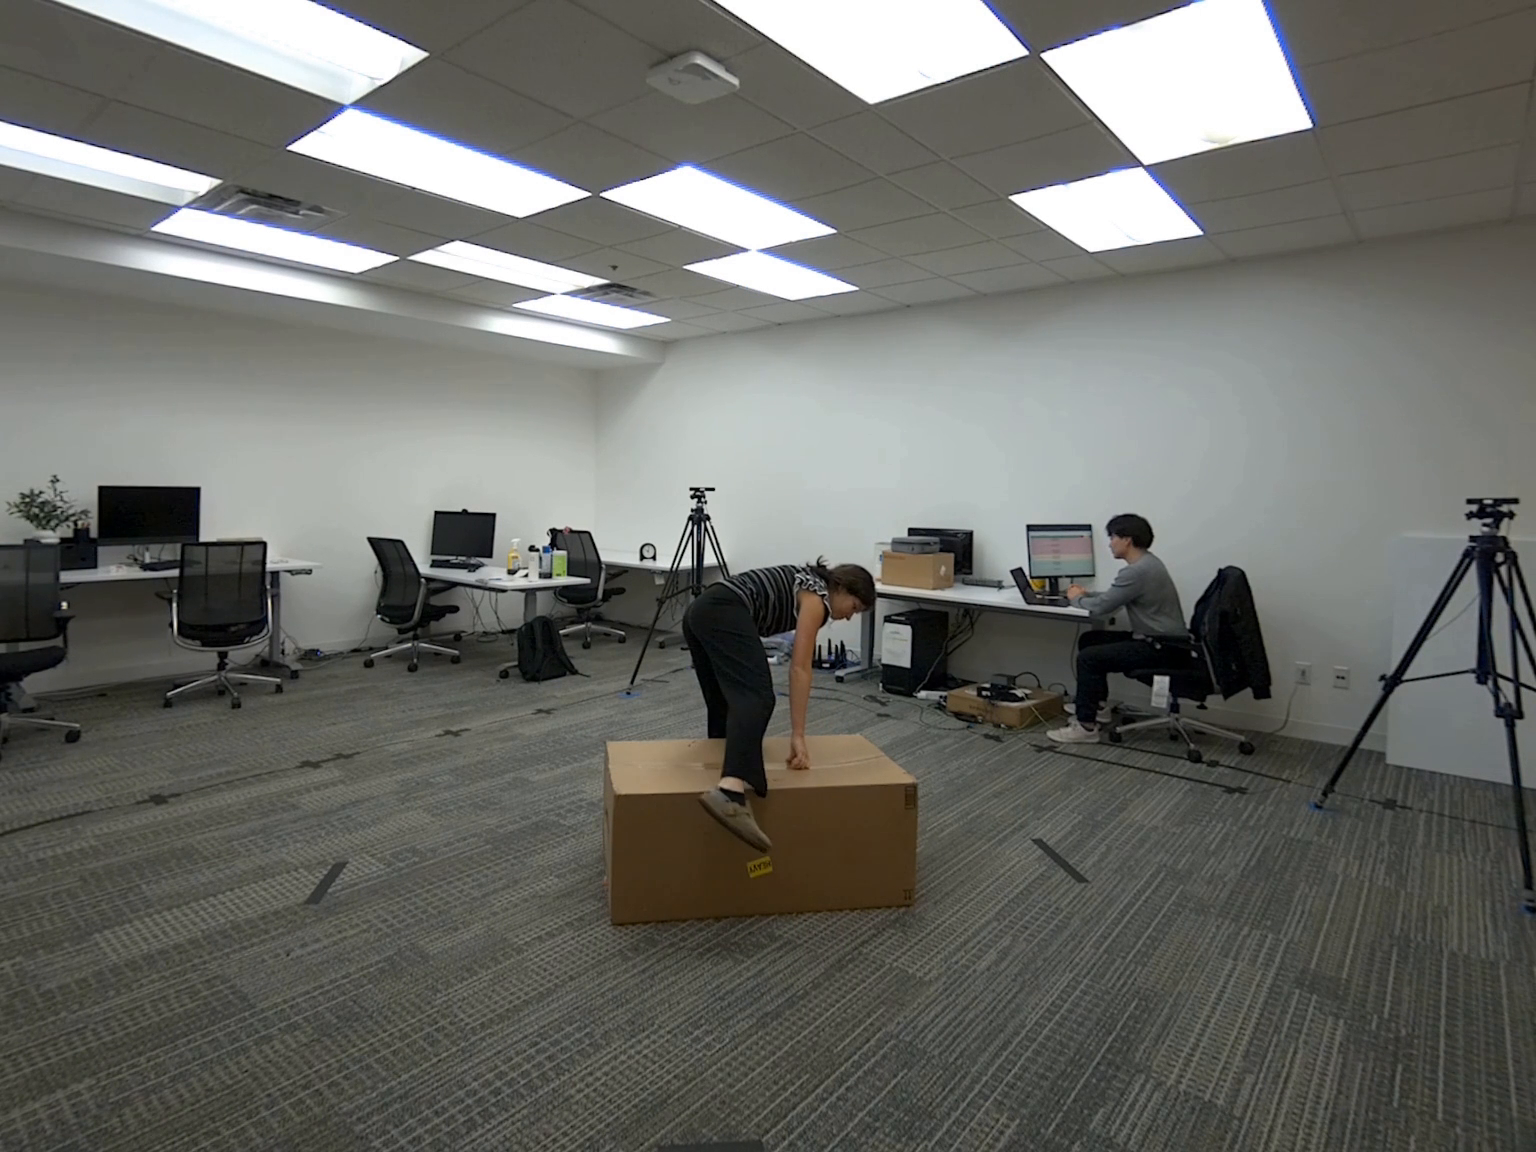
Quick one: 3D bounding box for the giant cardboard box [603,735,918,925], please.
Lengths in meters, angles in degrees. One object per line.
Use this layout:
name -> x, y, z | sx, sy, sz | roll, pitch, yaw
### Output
giant cardboard box -> -0.069, 0.870, 3.047 | 1.014, 0.425, 0.586 | 0, 5, -11
